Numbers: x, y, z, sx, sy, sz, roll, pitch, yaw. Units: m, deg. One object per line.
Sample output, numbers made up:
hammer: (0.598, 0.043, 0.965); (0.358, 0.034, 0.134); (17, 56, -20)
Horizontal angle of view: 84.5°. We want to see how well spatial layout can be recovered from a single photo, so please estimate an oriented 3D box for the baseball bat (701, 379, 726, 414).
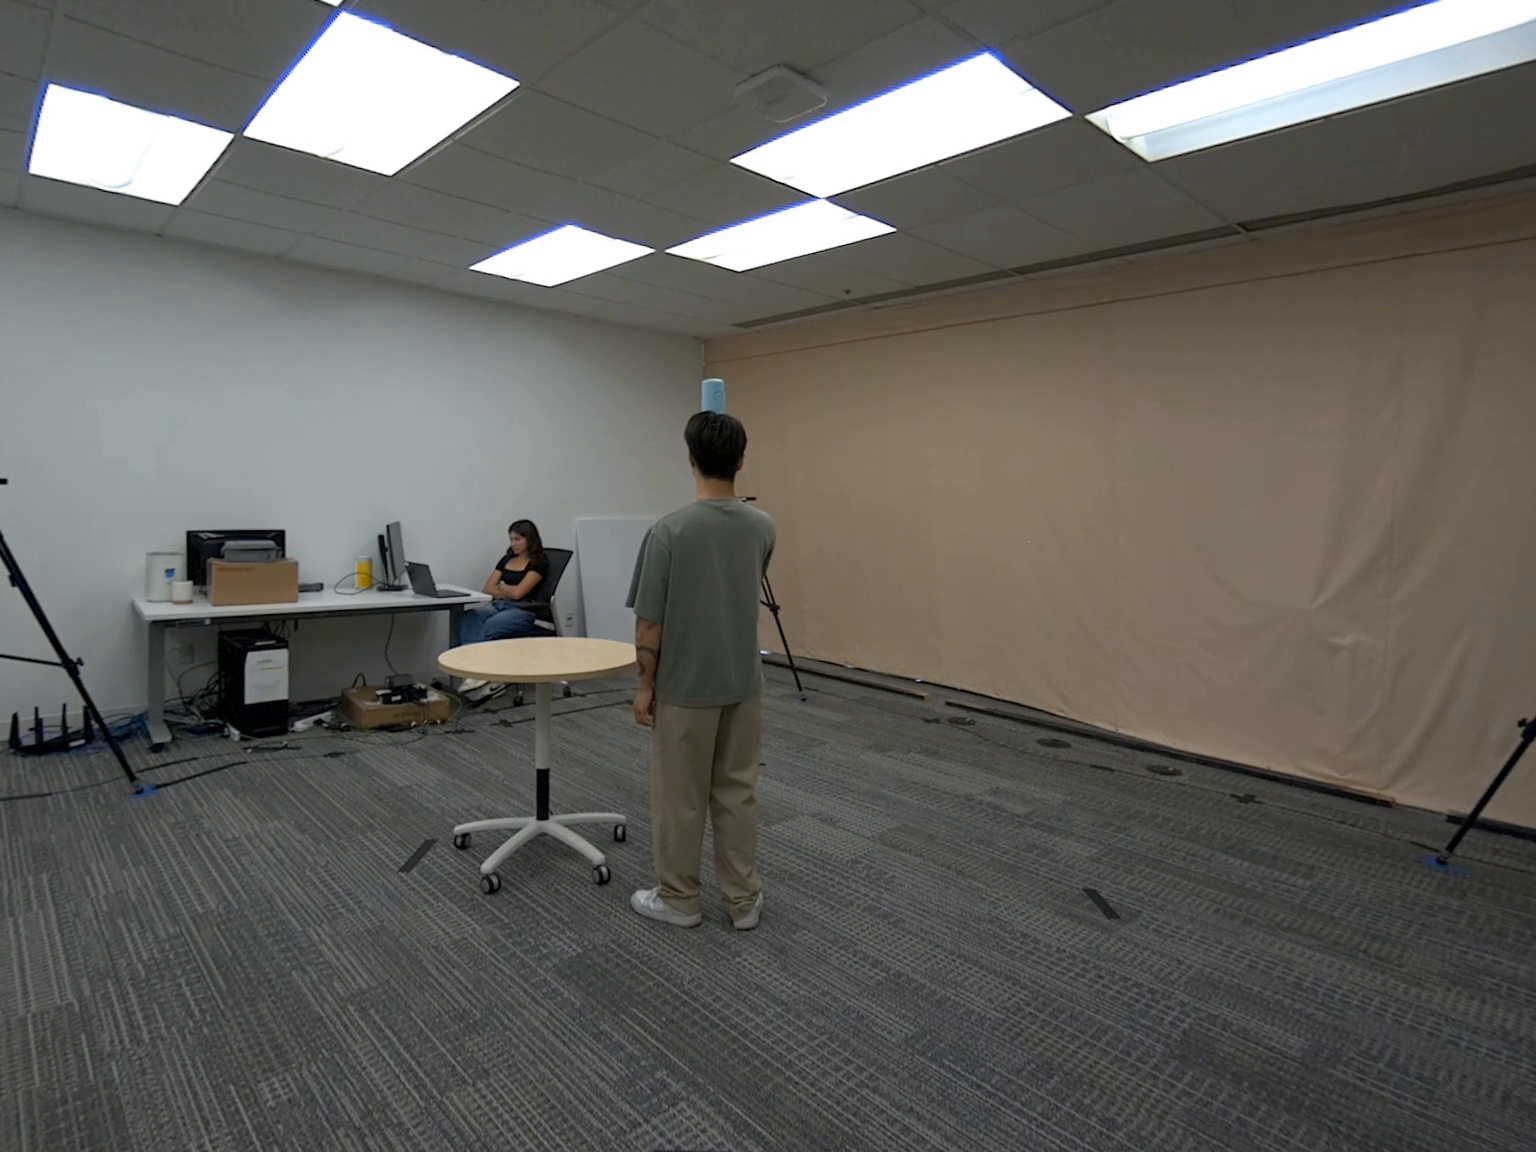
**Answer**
baseball bat: (-0.212, -0.481, 3.221); (0.089, 0.540, 0.089); (0, 8, -1)
